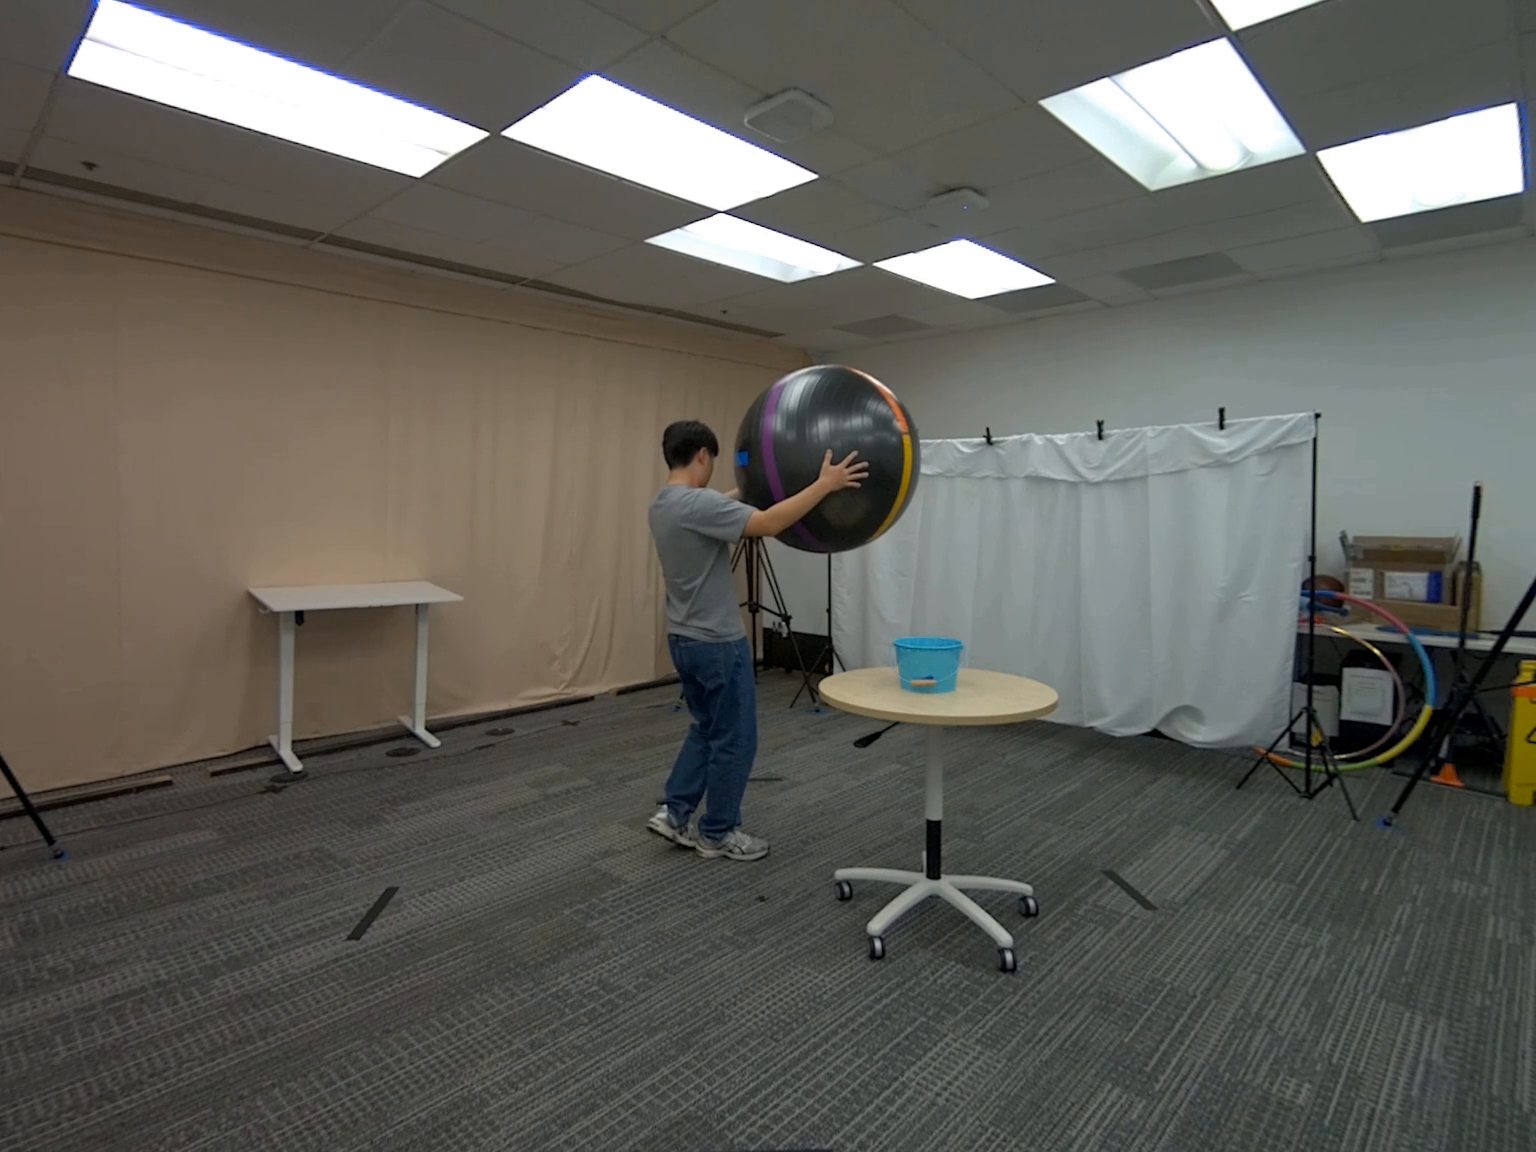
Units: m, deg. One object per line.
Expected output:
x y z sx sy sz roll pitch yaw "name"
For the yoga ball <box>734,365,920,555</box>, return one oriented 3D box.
0.239 -0.464 3.446 0.757 0.756 0.760 0 4 -2 "yoga ball"
